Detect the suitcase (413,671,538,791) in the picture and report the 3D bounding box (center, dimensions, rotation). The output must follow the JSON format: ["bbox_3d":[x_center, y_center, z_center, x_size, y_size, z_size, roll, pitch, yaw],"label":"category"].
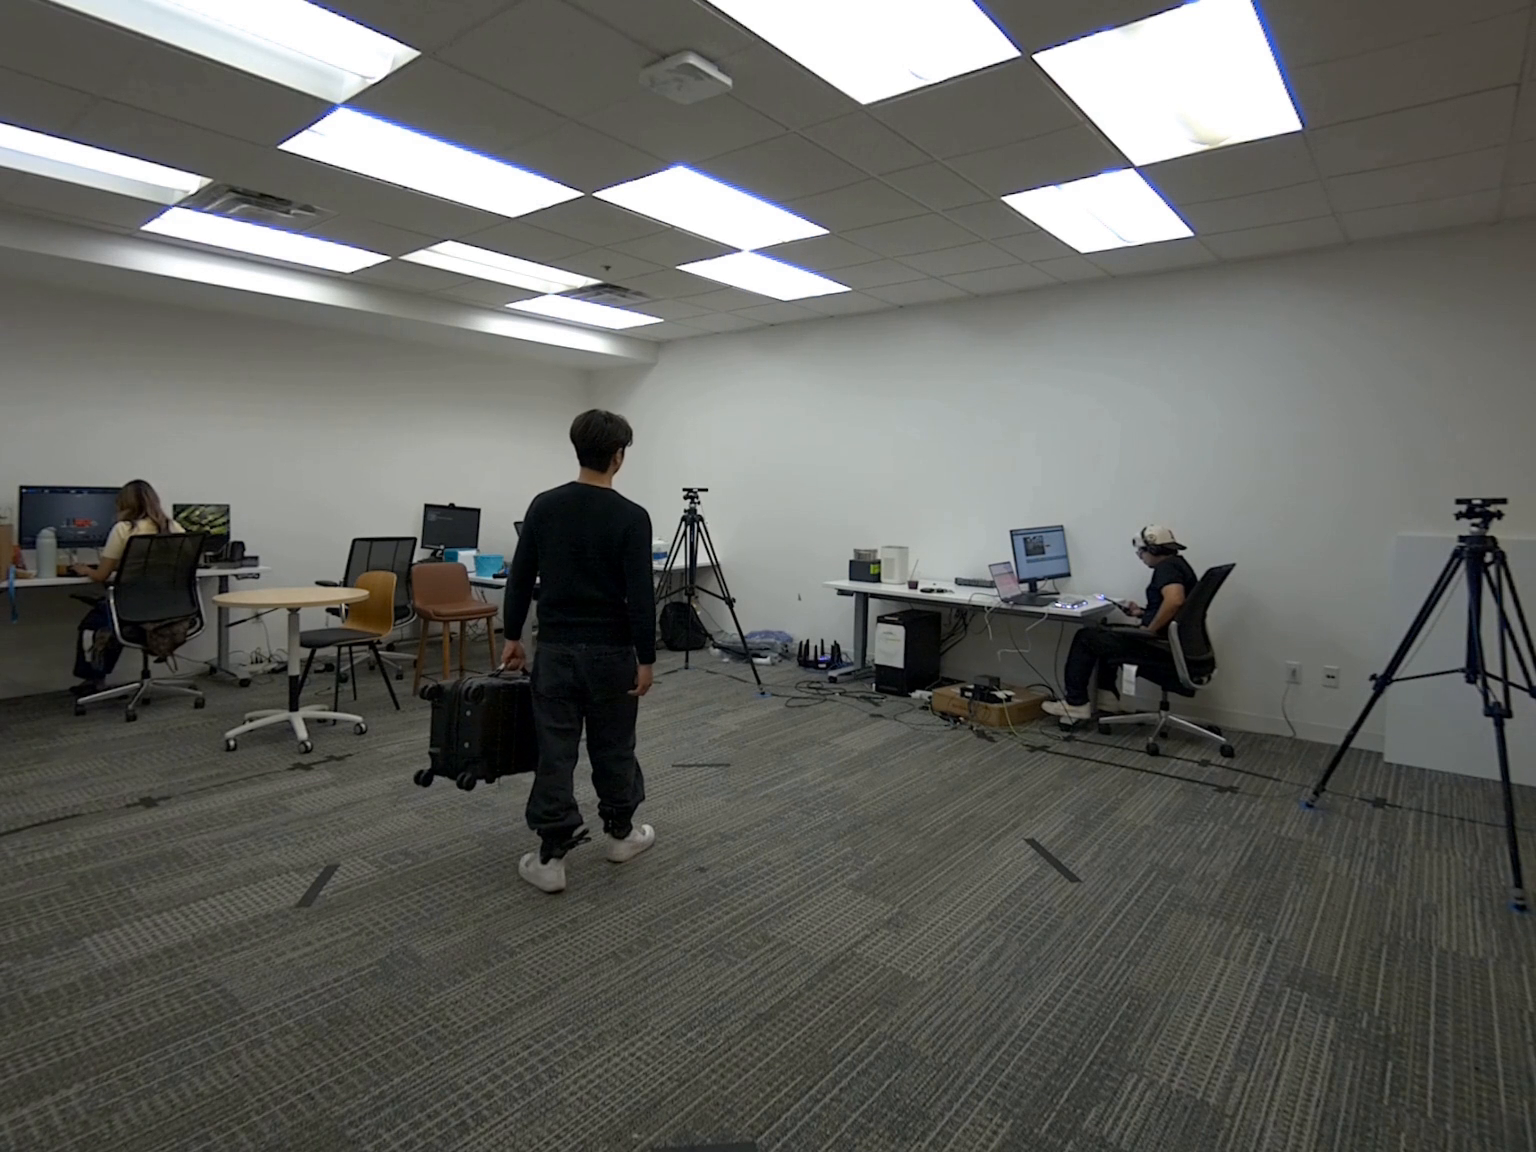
[{"bbox_3d":[-0.920,0.569,3.316,0.263,0.387,0.949,-4,-6,25],"label":"suitcase"}]
